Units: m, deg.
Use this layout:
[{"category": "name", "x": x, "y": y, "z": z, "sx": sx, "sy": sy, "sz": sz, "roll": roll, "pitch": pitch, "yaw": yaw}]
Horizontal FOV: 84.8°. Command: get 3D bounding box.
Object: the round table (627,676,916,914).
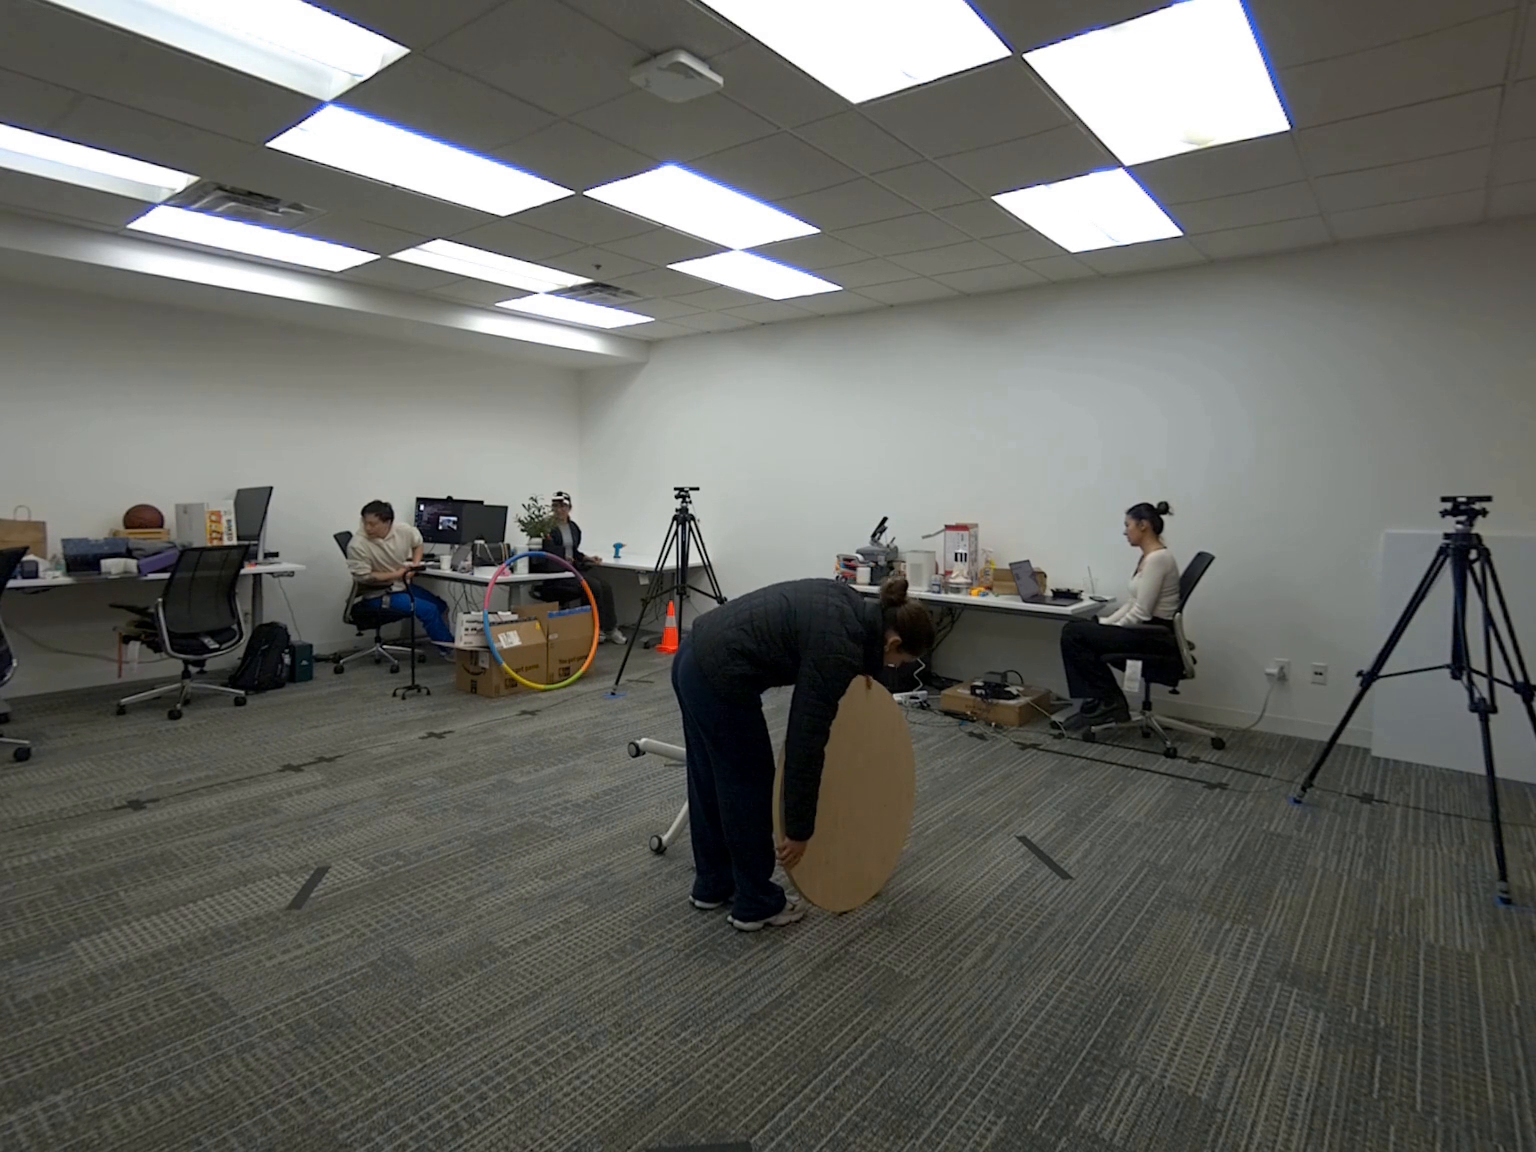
[{"category": "round table", "x": 0.013, "y": 0.732, "z": 3.161, "sx": 0.810, "sy": 0.786, "sz": 0.761, "roll": -3, "pitch": 0, "yaw": 44}]
